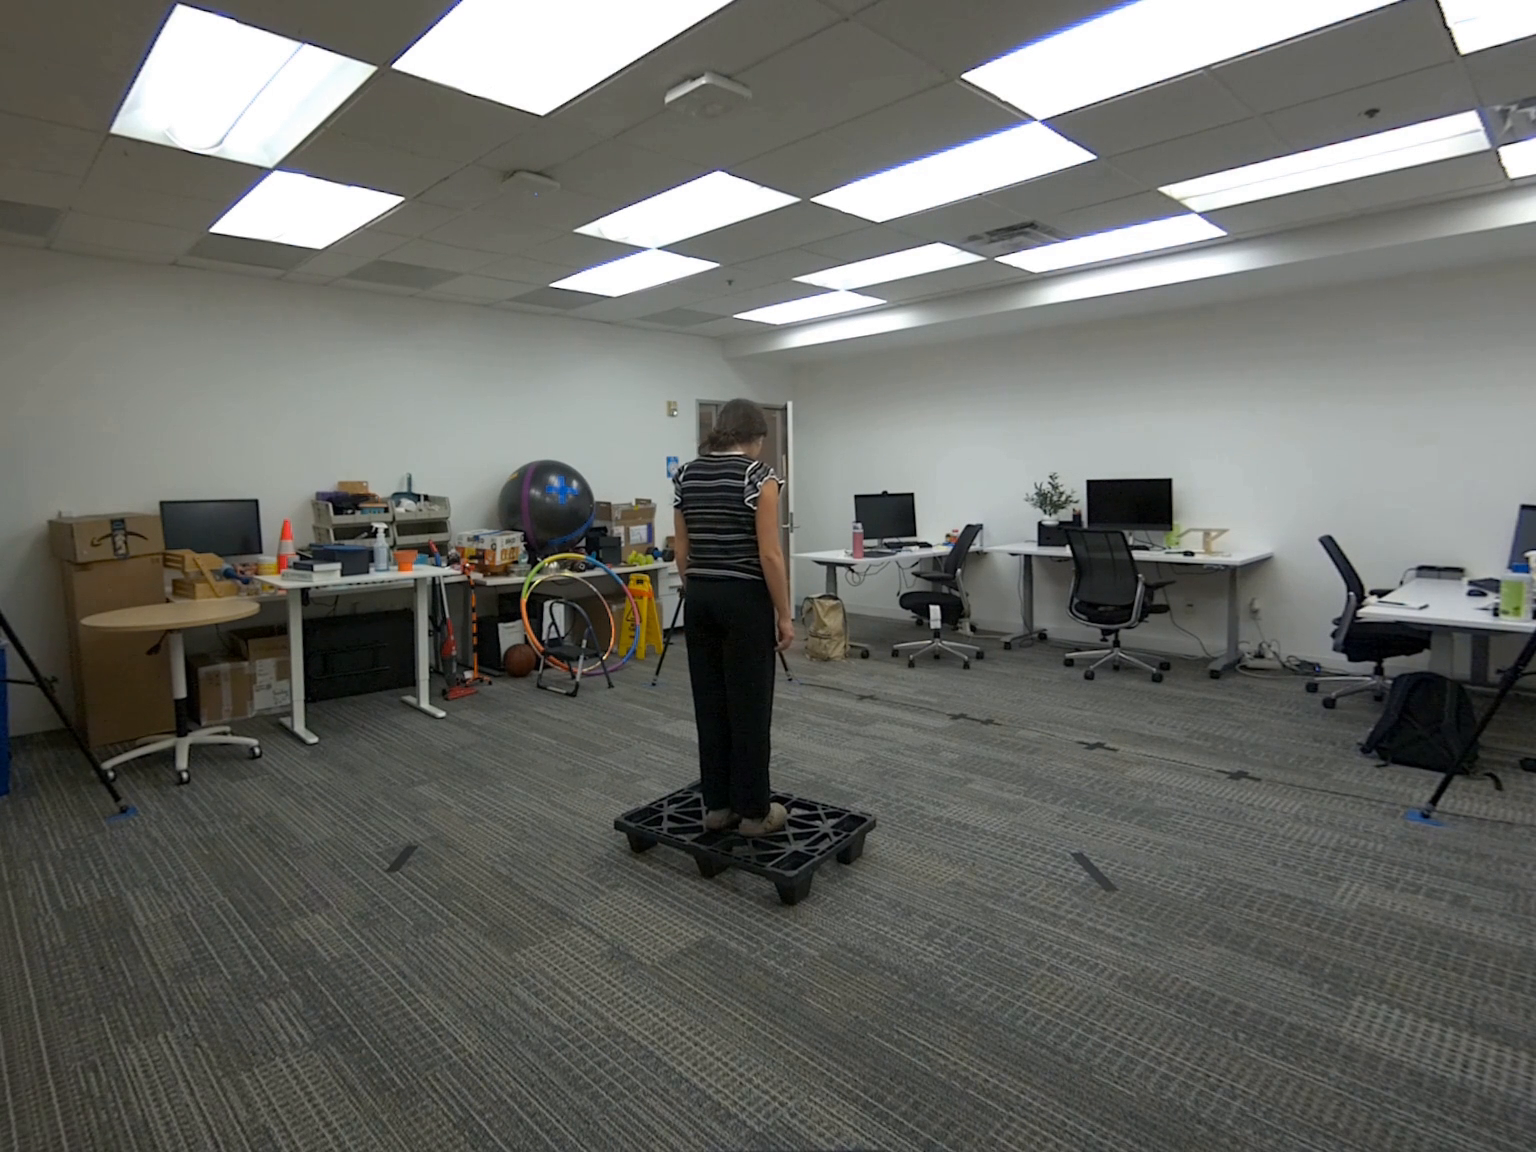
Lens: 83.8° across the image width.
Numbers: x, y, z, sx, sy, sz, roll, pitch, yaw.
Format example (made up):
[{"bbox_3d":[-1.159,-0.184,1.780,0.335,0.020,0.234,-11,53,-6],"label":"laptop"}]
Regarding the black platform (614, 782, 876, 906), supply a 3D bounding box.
[{"bbox_3d":[-0.086,0.966,3.194,0.829,0.143,0.590,4,7,36],"label":"black platform"}]
